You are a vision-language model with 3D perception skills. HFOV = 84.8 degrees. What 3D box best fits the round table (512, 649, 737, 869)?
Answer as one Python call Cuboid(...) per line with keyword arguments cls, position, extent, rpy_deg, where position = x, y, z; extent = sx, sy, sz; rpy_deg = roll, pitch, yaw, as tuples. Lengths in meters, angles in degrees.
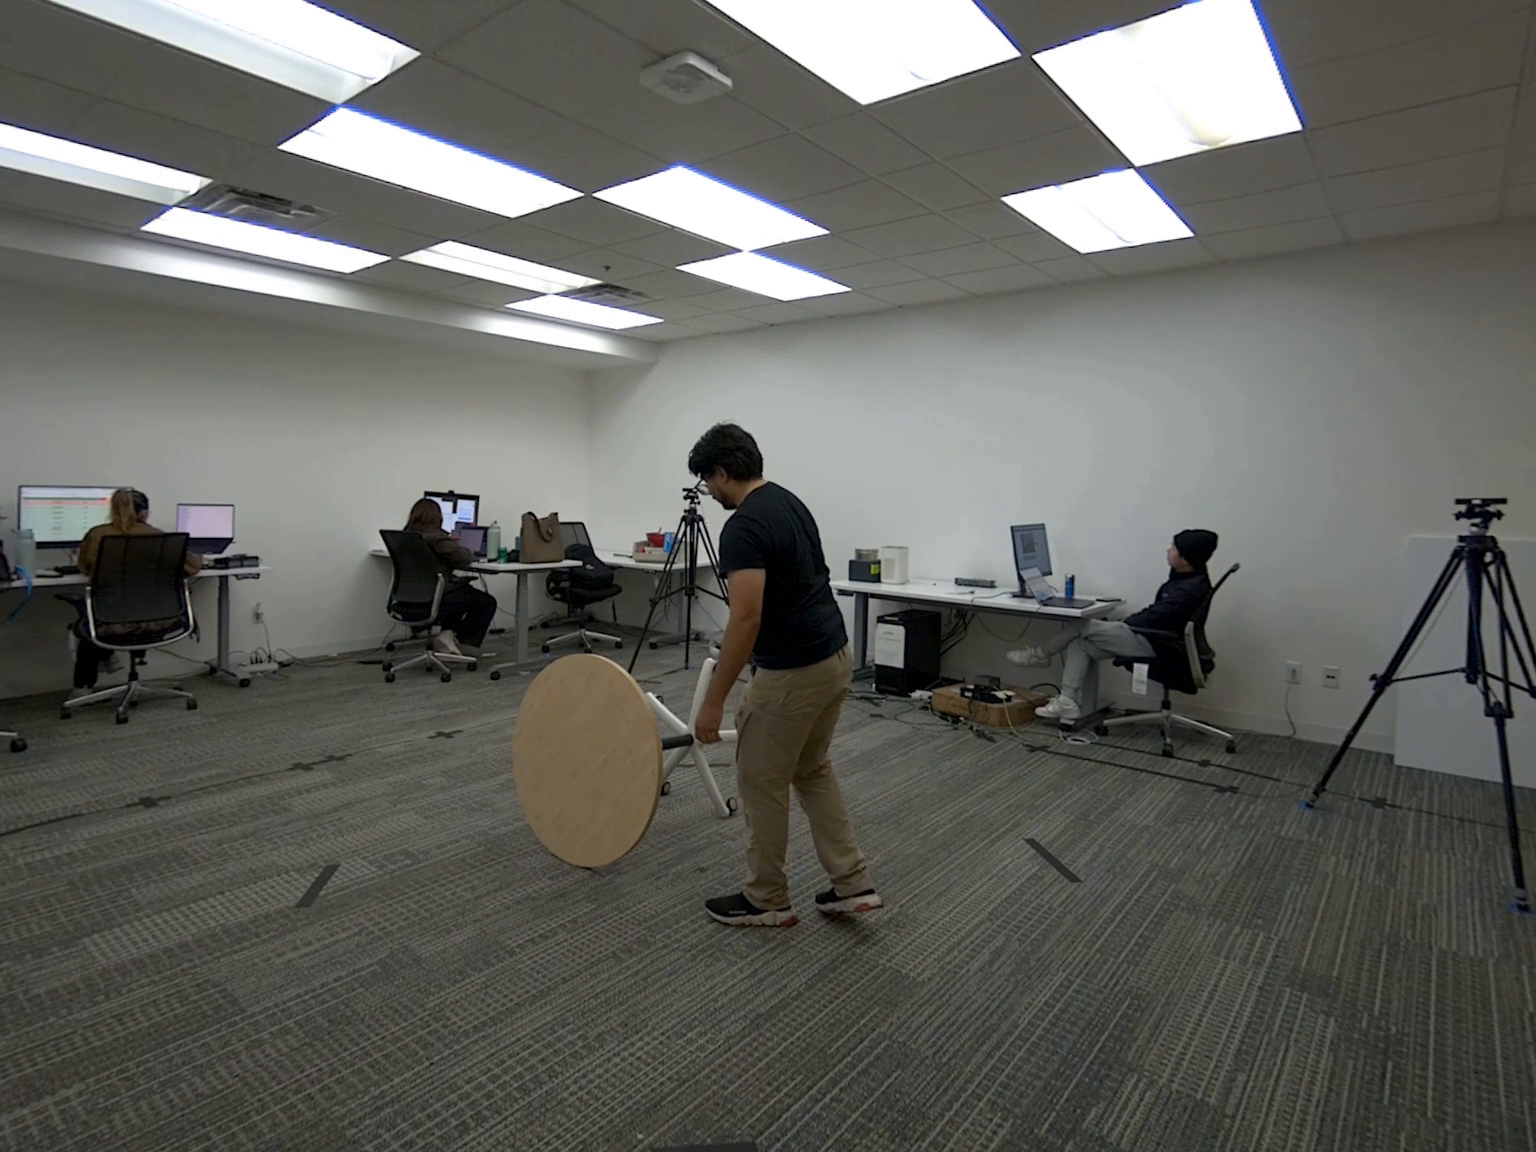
Cuboid(cls="round table", position=(-0.497, 0.682, 3.473), extent=(0.810, 0.786, 0.761), rpy_deg=(4, -2, 34))
